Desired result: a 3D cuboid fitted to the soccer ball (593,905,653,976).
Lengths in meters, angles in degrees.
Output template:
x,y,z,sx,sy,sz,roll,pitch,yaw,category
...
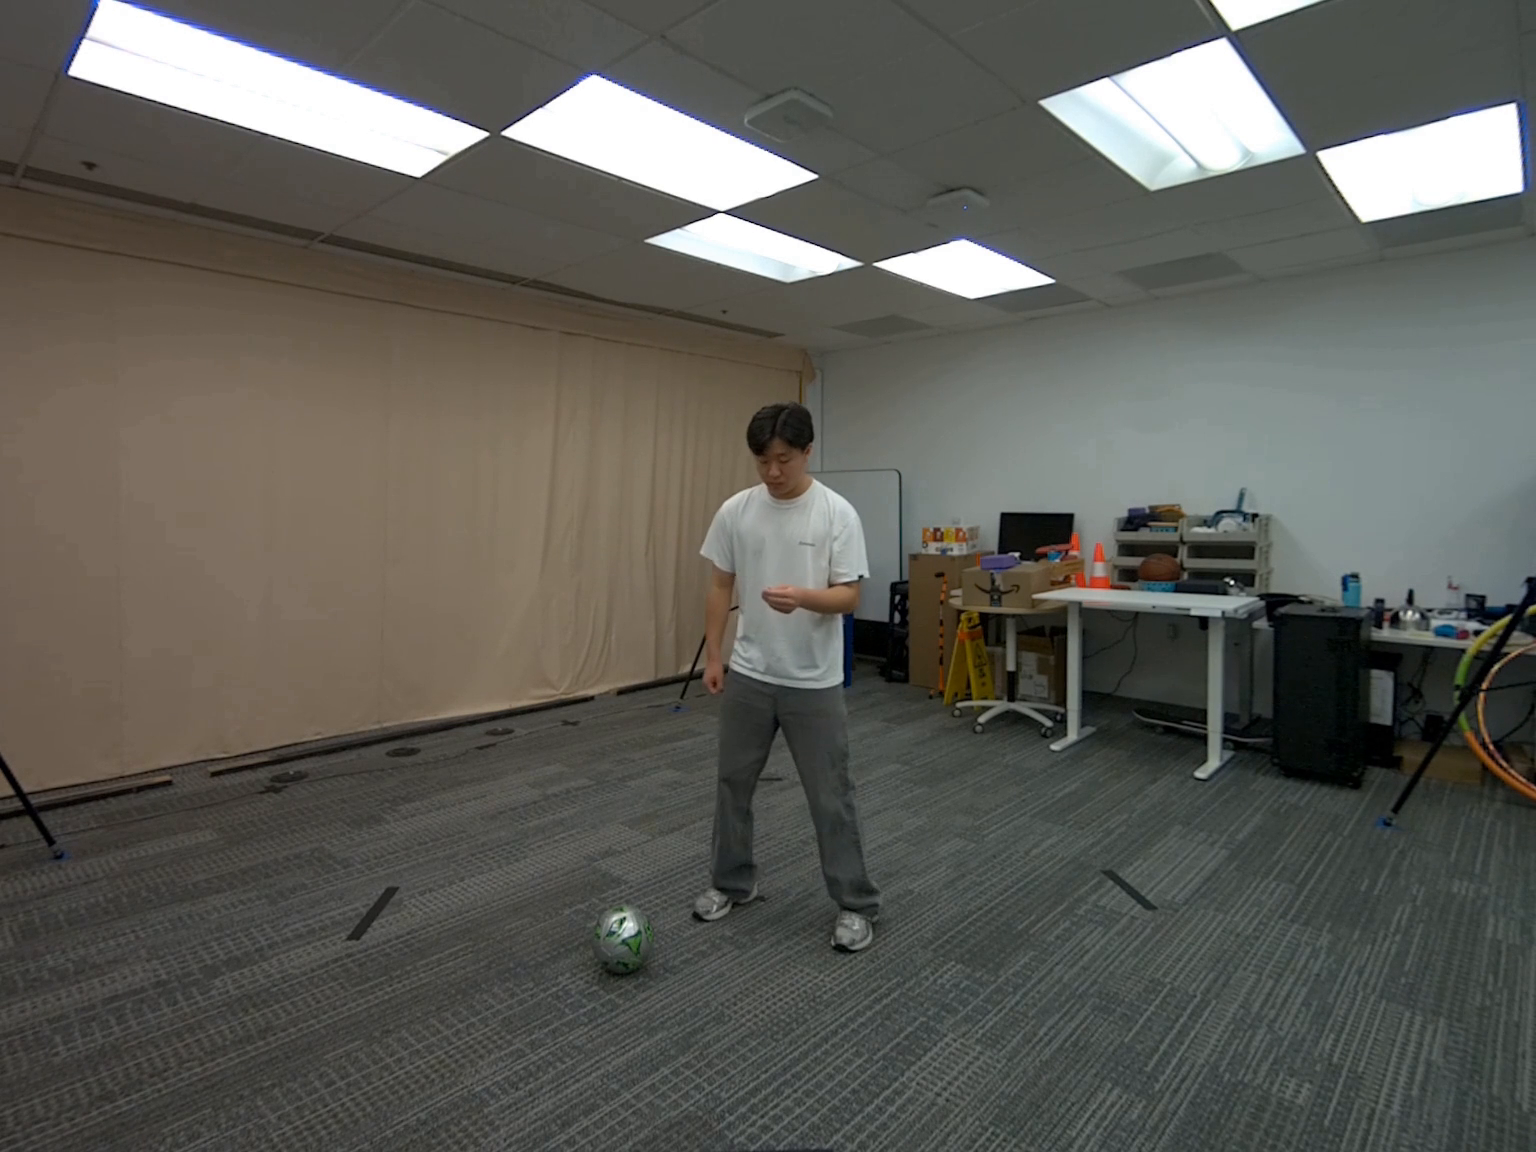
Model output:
x,y,z,sx,sy,sz,roll,pitch,yaw,category
-0.428,1.091,2.530,0.187,0.187,0.188,0,4,-2,soccer ball
